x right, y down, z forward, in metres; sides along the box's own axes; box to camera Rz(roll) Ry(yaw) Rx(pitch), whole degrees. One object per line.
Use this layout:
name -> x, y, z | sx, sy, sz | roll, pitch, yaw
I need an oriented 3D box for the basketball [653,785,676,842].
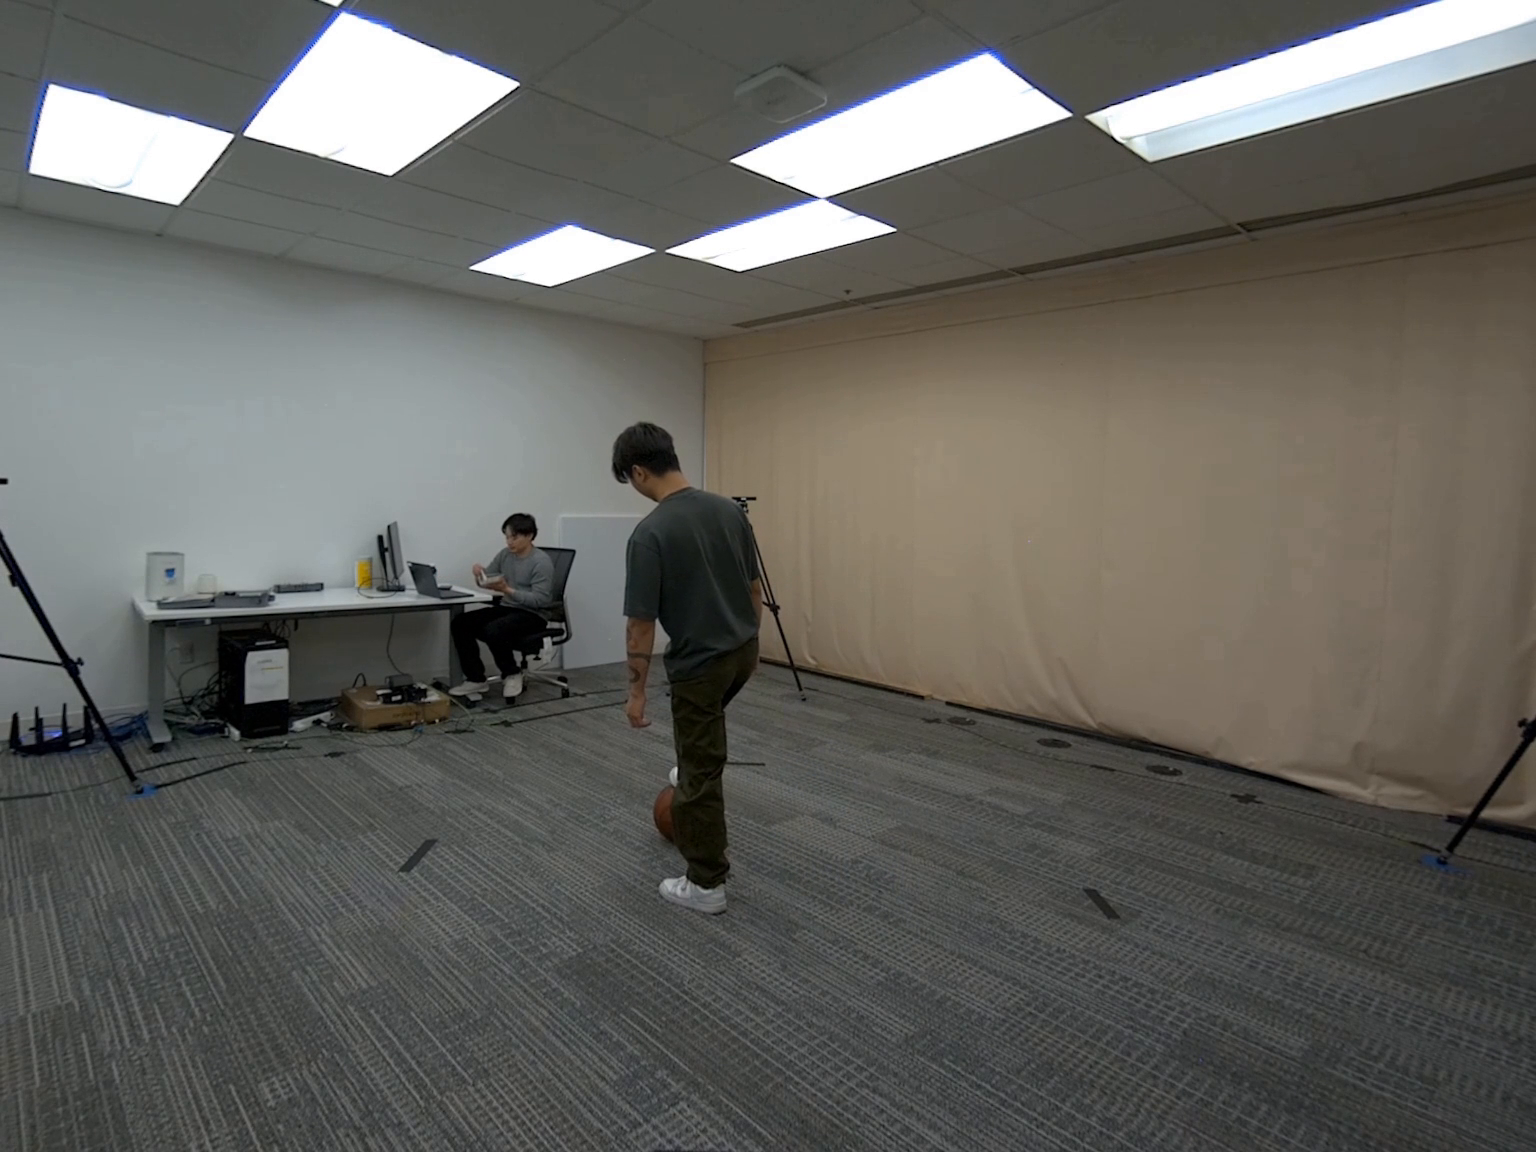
basketball -> -0.352, 0.957, 3.410 | 0.236, 0.235, 0.237 | 1, 4, -1
